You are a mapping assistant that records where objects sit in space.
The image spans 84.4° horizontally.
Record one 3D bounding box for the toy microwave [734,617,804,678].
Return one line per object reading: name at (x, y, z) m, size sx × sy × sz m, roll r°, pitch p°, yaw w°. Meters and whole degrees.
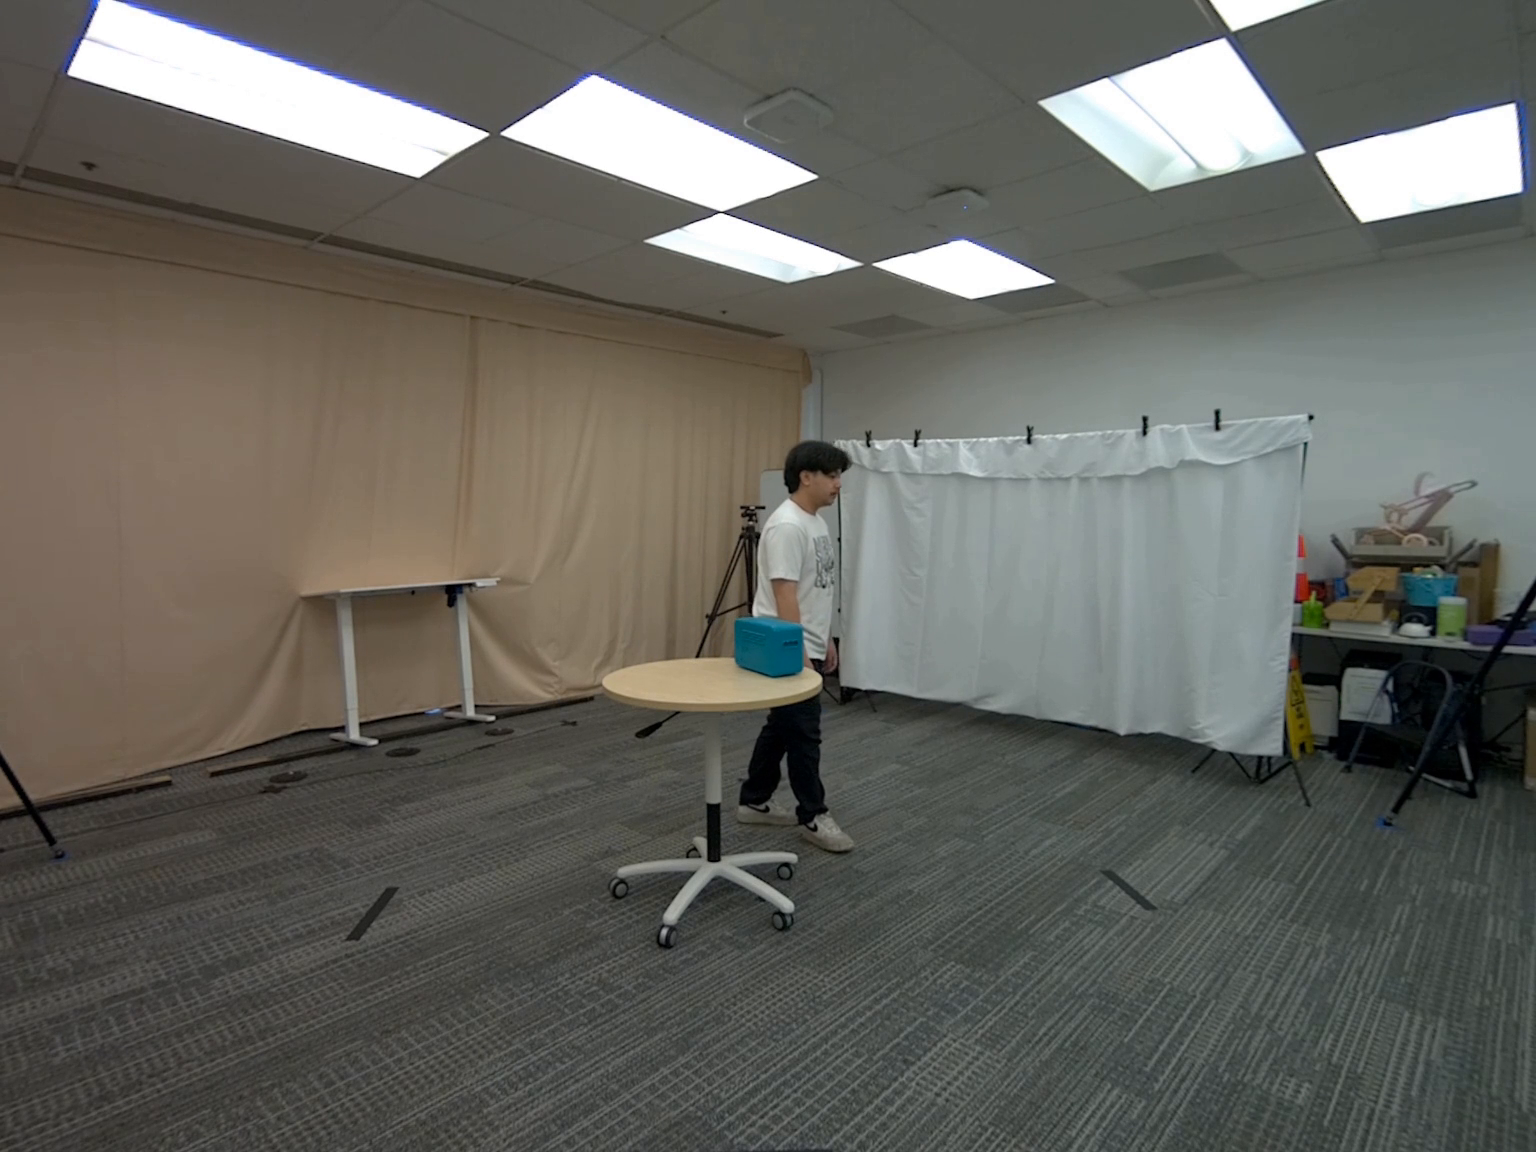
toy microwave at (0.012, 0.252, 3.060) m, size 0.148 × 0.184 × 0.295 m, roll -2°, pitch 5°, yaw -31°
